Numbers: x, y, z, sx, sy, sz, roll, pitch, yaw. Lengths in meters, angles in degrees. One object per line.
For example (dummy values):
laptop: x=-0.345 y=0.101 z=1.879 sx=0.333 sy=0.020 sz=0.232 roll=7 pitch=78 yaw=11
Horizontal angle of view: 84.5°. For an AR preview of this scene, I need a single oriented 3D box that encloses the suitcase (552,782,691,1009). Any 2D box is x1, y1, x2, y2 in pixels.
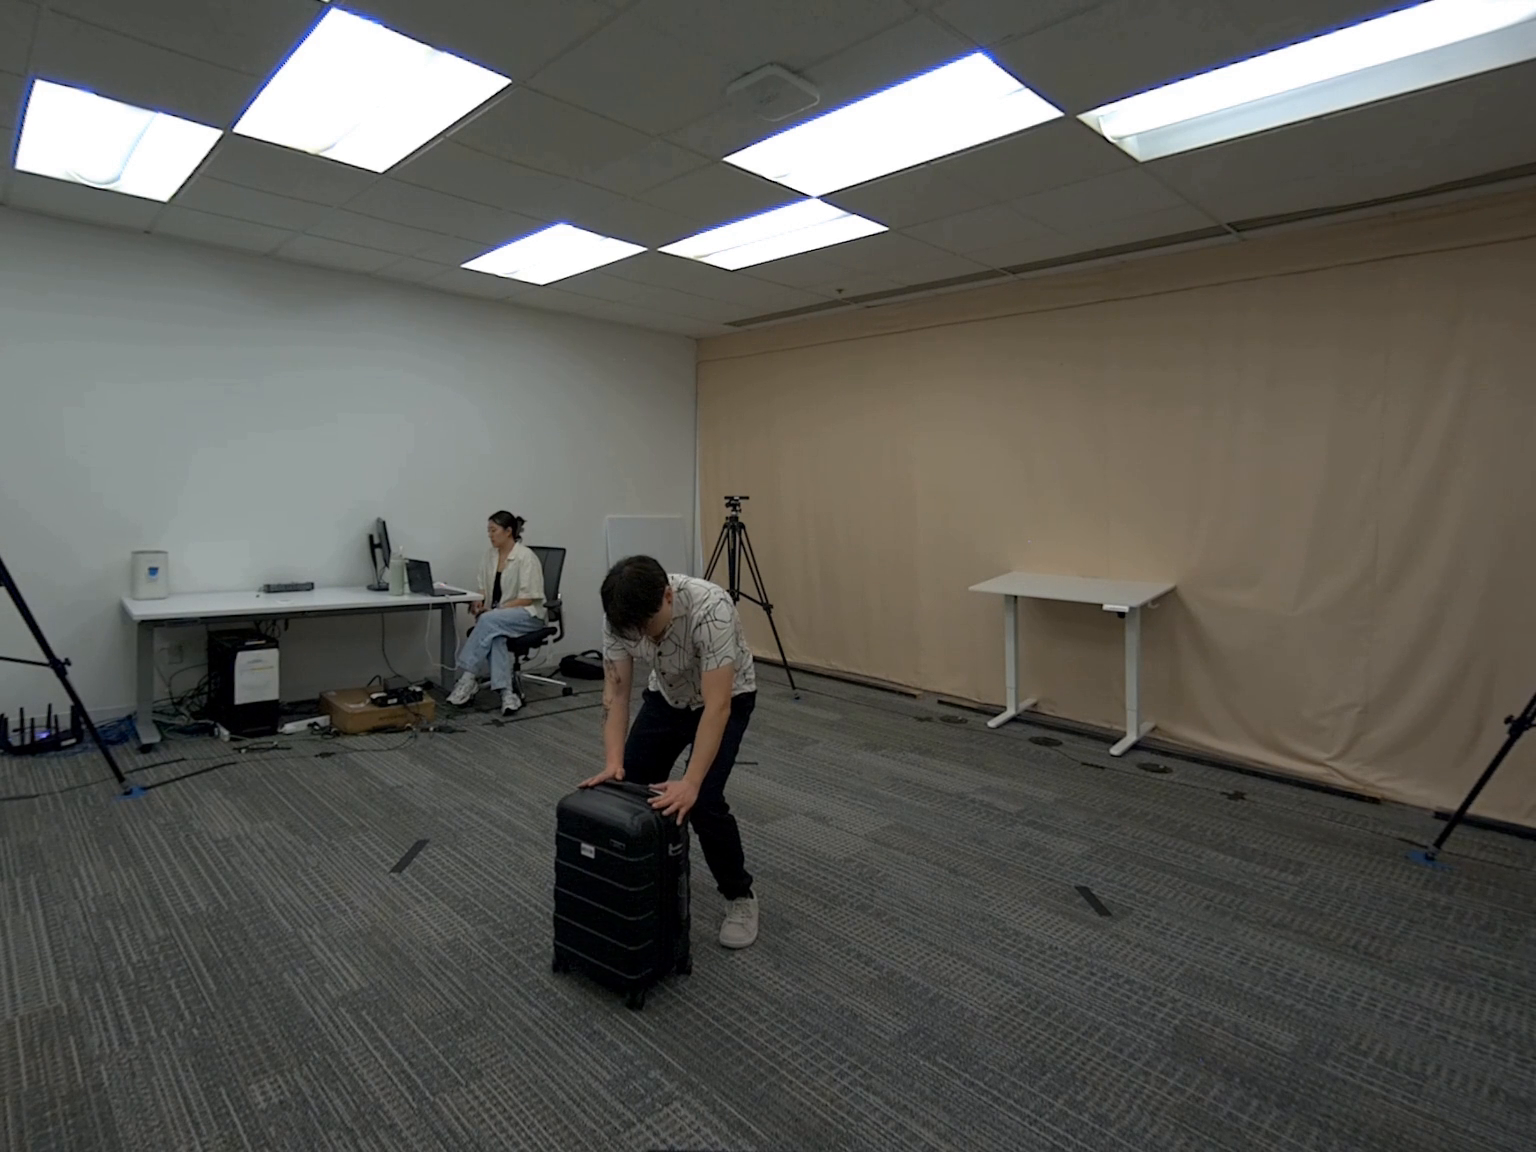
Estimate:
suitcase: x=-0.428 y=0.890 z=2.414 sx=0.384 sy=0.547 sz=0.243 roll=4 pitch=5 yaw=34
